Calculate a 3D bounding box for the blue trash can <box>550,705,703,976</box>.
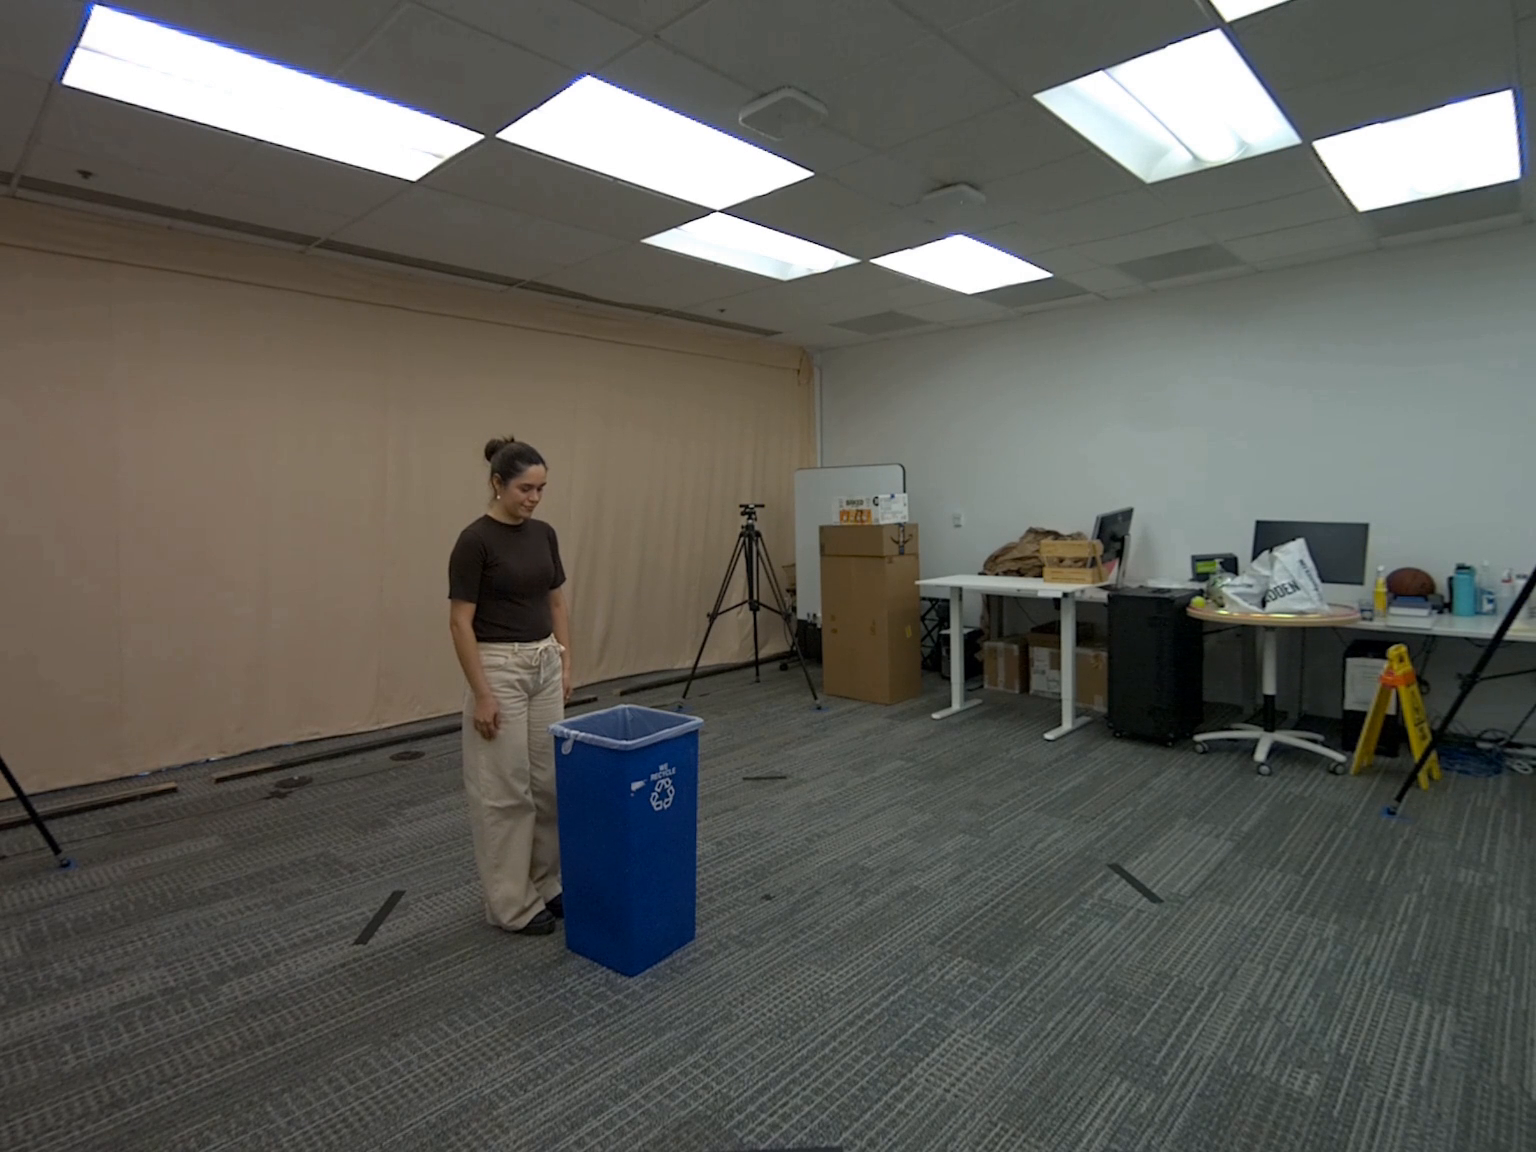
[{"bbox_3d":[-0.441,0.815,2.680,0.390,0.712,0.363,2,4,37],"label":"blue trash can"}]
